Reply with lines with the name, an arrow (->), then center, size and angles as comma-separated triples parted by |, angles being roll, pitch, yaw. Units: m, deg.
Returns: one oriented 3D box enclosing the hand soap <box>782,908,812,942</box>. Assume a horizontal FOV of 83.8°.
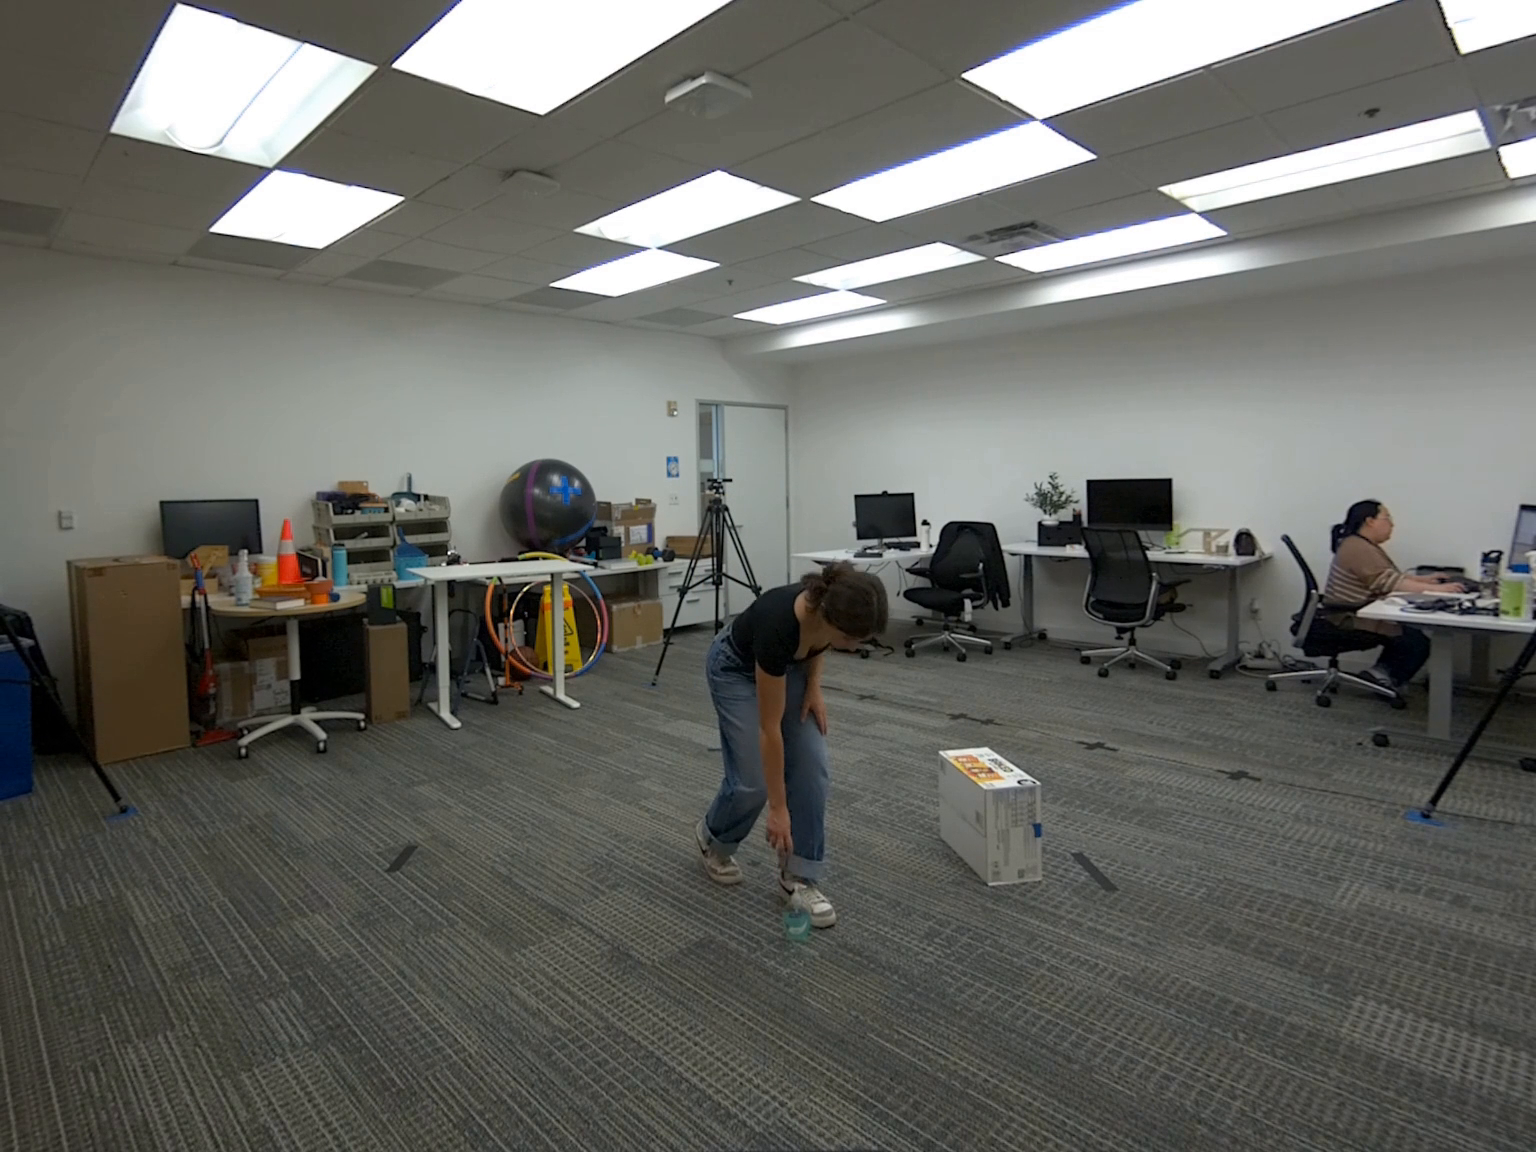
hand soap -> 0.093, 1.023, 2.591 | 0.085, 0.168, 0.043 | 3, 2, 9
